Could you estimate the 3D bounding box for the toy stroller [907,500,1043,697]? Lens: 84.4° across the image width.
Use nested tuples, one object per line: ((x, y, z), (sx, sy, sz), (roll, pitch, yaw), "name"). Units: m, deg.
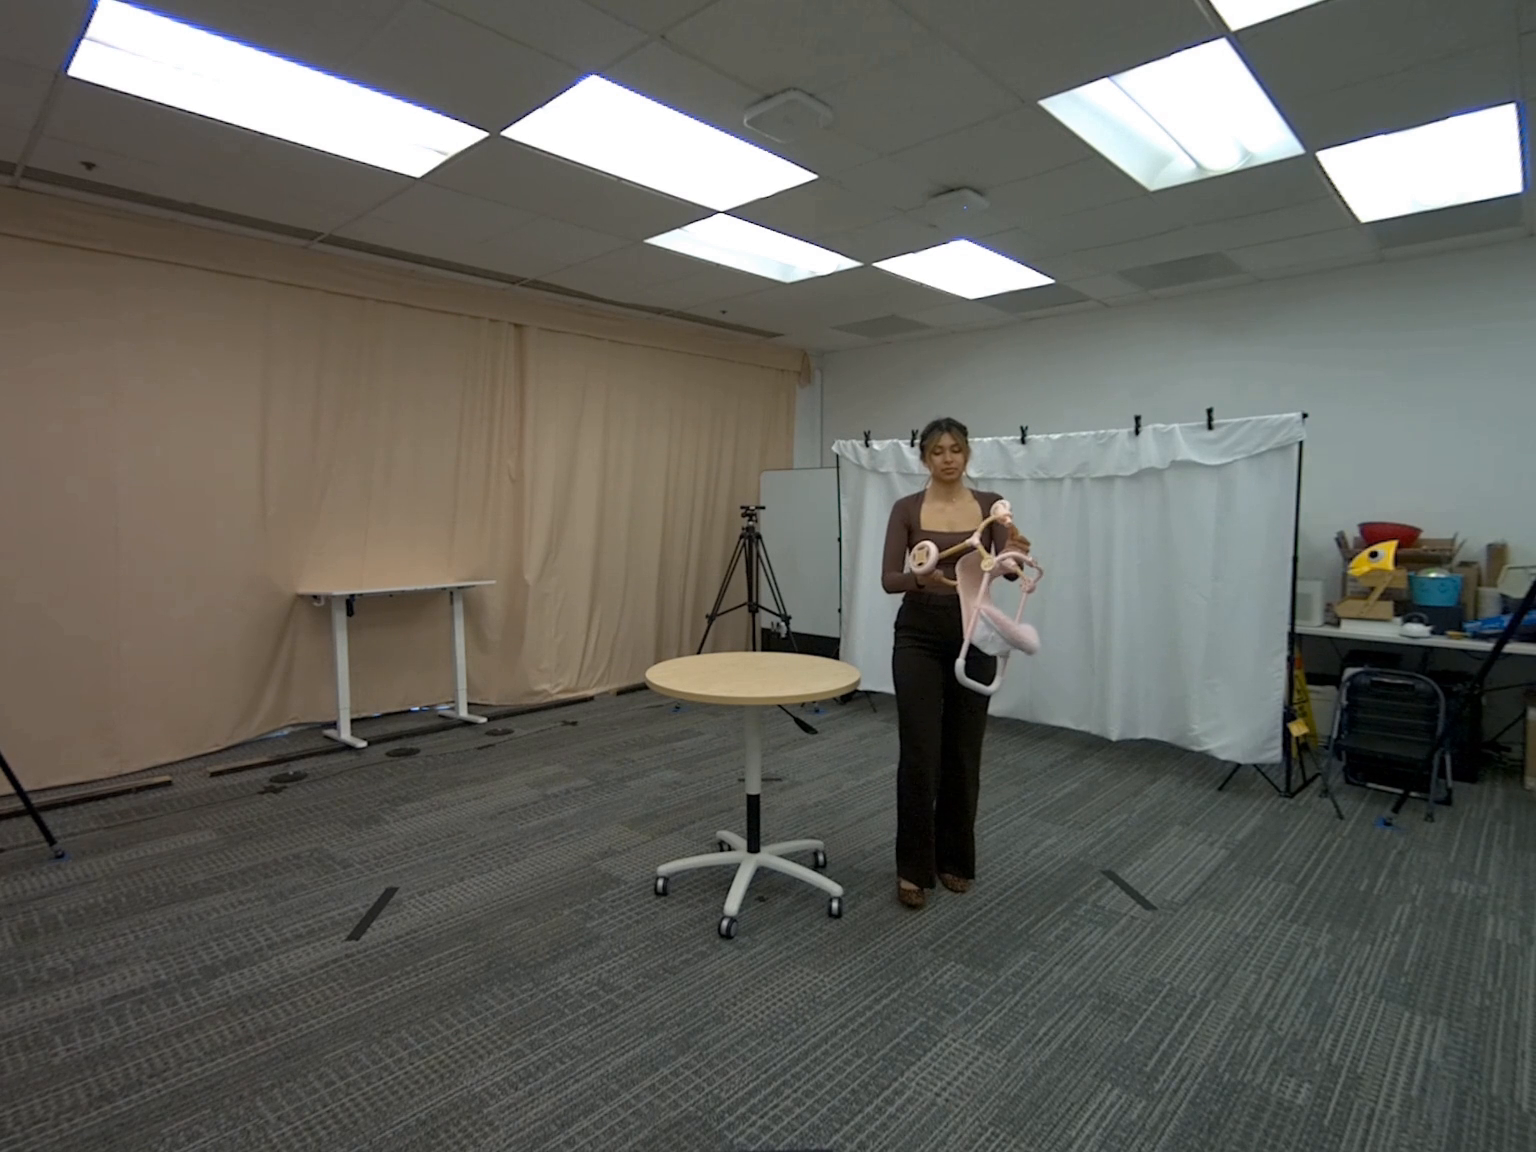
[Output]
((0.685, 0.048, 2.573), (0.272, 0.547, 0.345), (29, -54, -36), "toy stroller")
